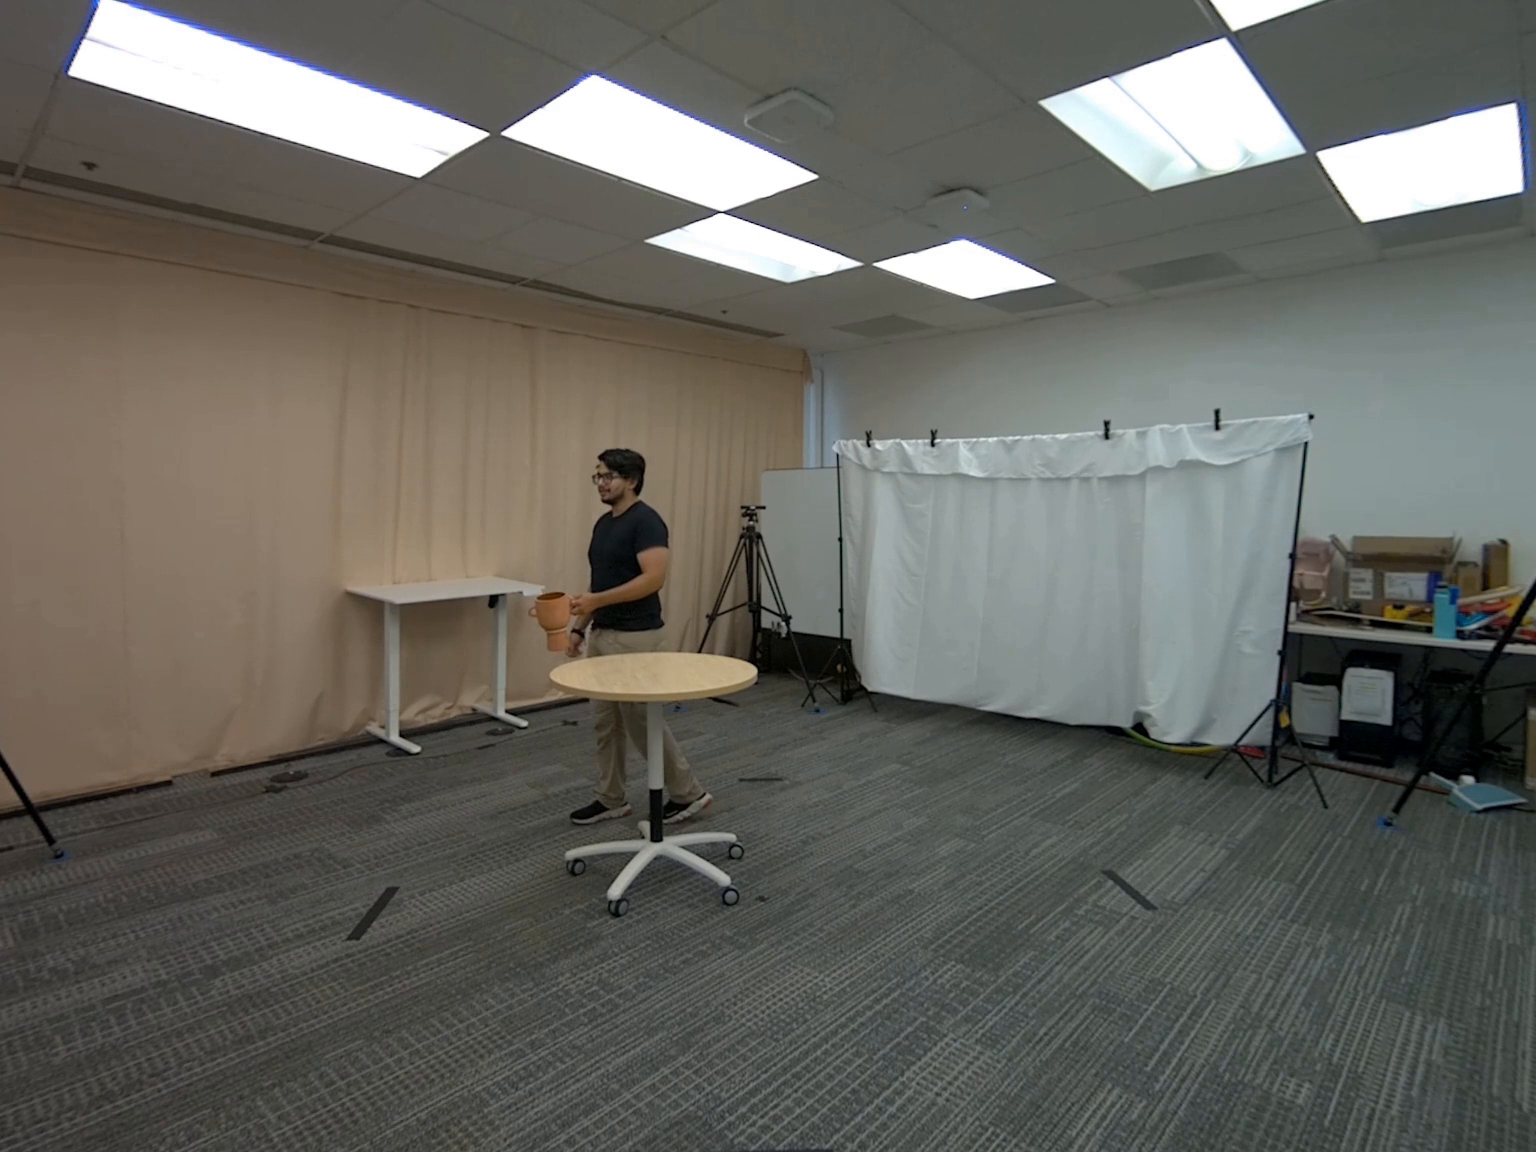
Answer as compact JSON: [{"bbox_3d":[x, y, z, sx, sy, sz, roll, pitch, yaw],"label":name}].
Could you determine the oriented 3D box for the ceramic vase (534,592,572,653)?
[{"bbox_3d":[-0.875,0.186,3.439,0.162,0.217,0.133,-1,15,23],"label":"ceramic vase"}]
